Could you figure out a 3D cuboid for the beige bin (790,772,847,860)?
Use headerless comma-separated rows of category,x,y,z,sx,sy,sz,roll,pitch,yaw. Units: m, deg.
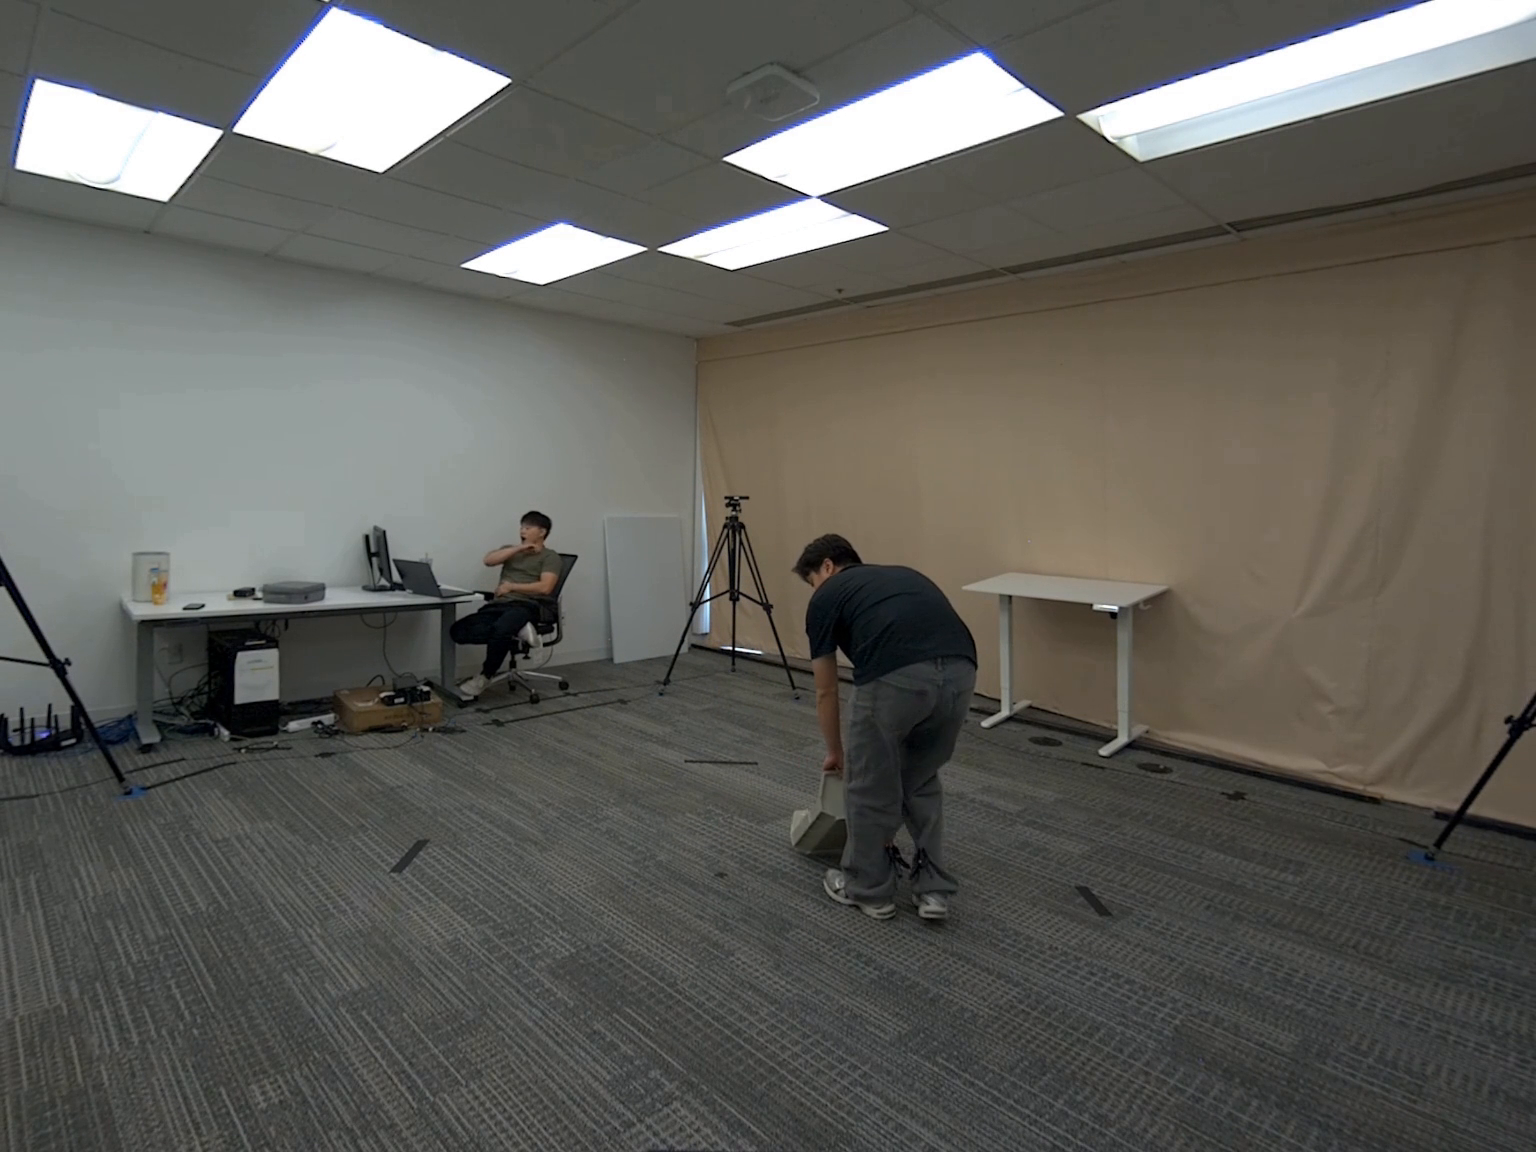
beige bin,0.307,0.901,3.210,0.373,0.193,0.417,2,-36,-14
